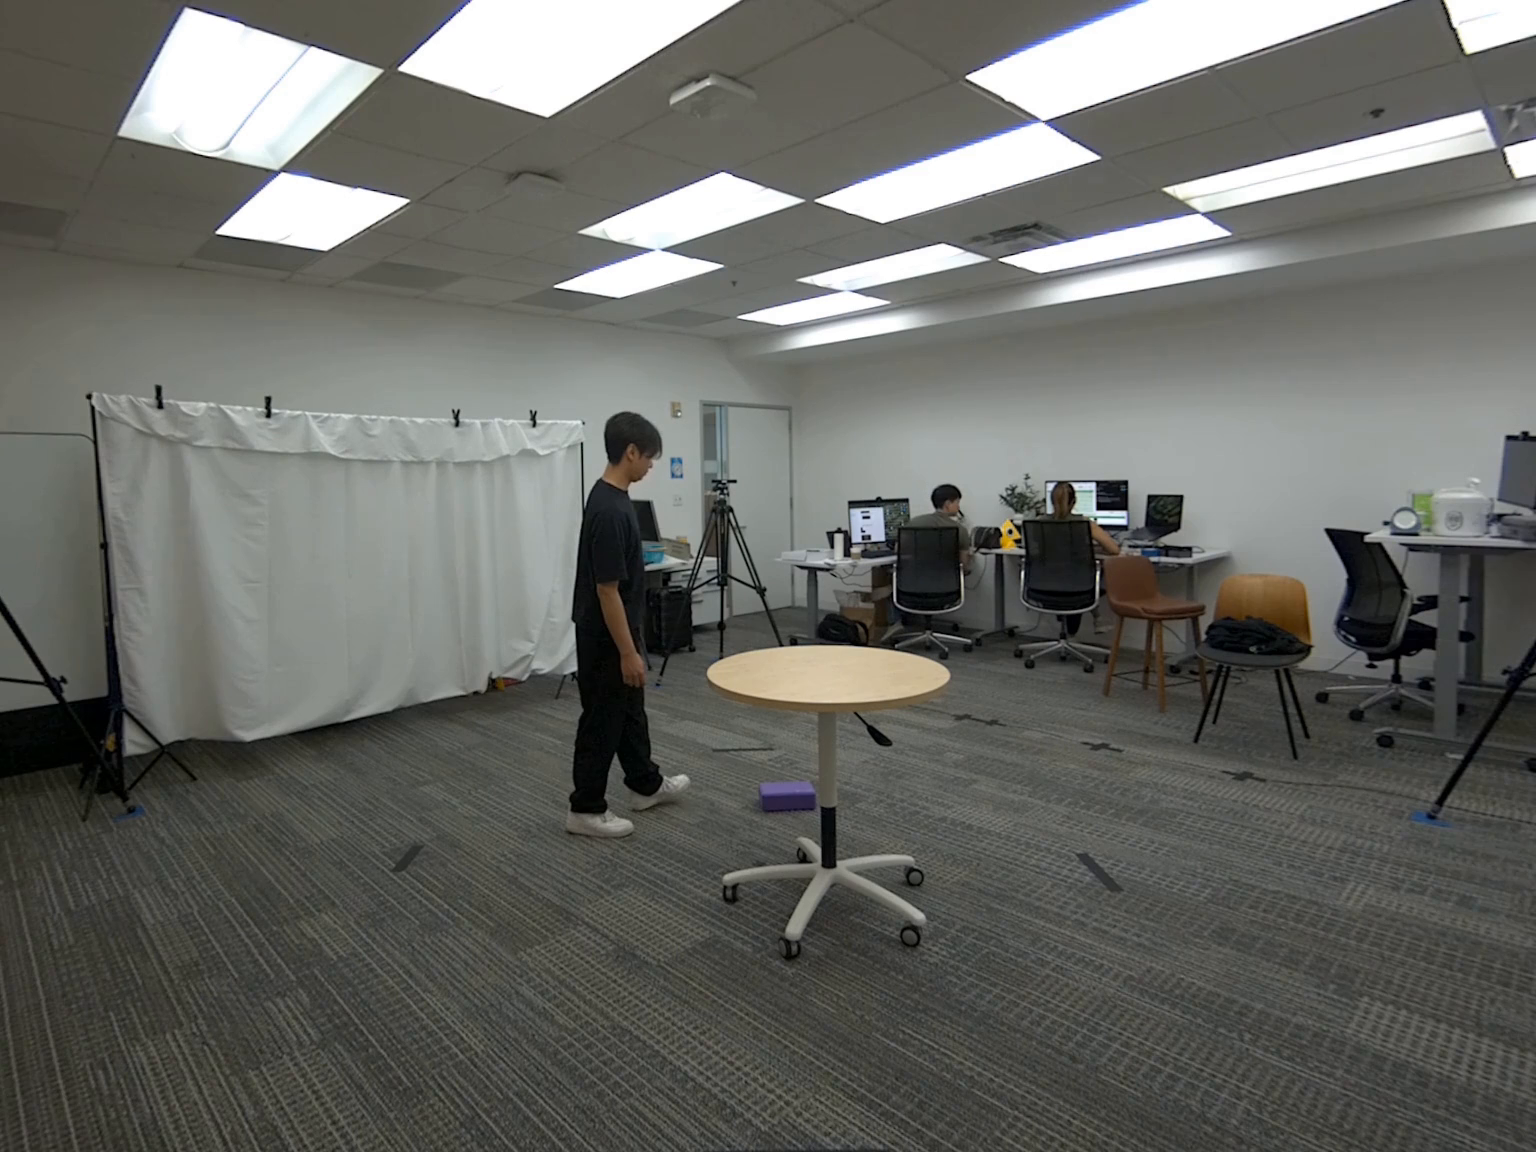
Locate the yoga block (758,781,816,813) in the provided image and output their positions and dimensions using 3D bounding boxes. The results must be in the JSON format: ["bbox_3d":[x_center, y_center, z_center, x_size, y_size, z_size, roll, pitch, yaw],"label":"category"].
[{"bbox_3d":[0.076,0.940,3.665,0.228,0.076,0.150,-1,7,-5],"label":"yoga block"}]
